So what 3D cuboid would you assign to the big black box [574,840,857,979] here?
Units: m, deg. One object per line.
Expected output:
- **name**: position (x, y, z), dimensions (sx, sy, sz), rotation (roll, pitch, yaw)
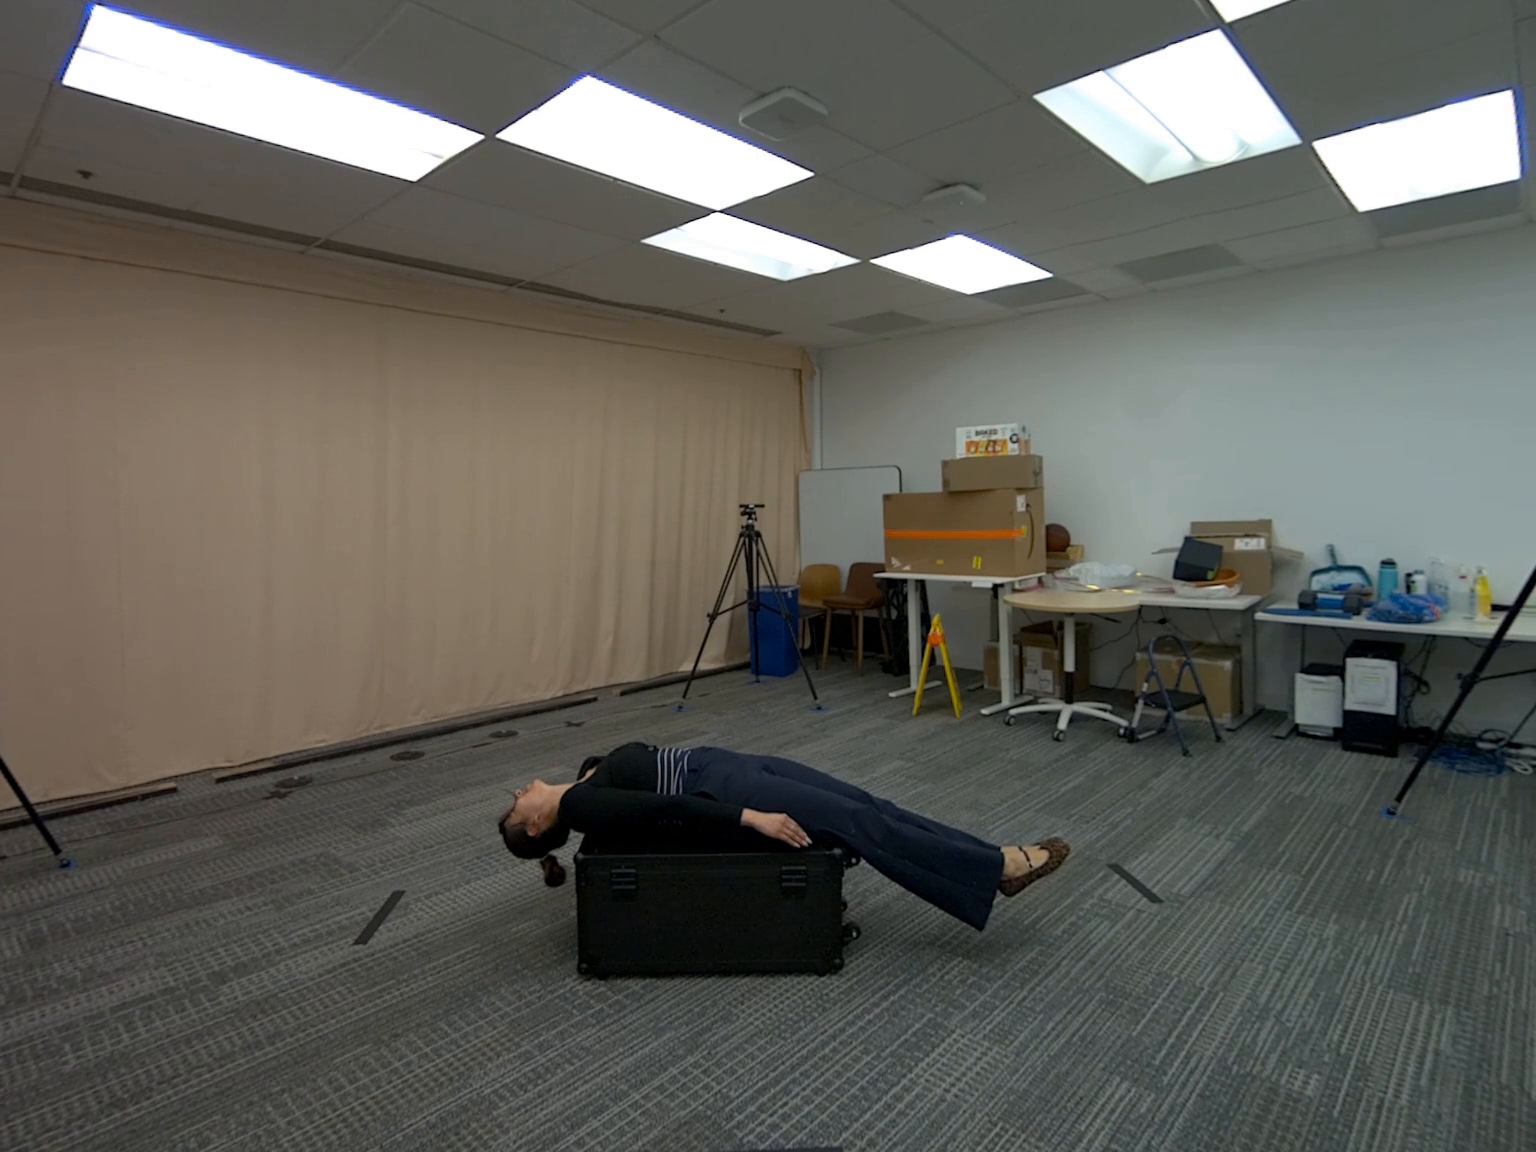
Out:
- **big black box**: position (-0.148, 0.971, 2.697), dimensions (0.861, 0.395, 0.523), rotation (-2, 4, -2)
